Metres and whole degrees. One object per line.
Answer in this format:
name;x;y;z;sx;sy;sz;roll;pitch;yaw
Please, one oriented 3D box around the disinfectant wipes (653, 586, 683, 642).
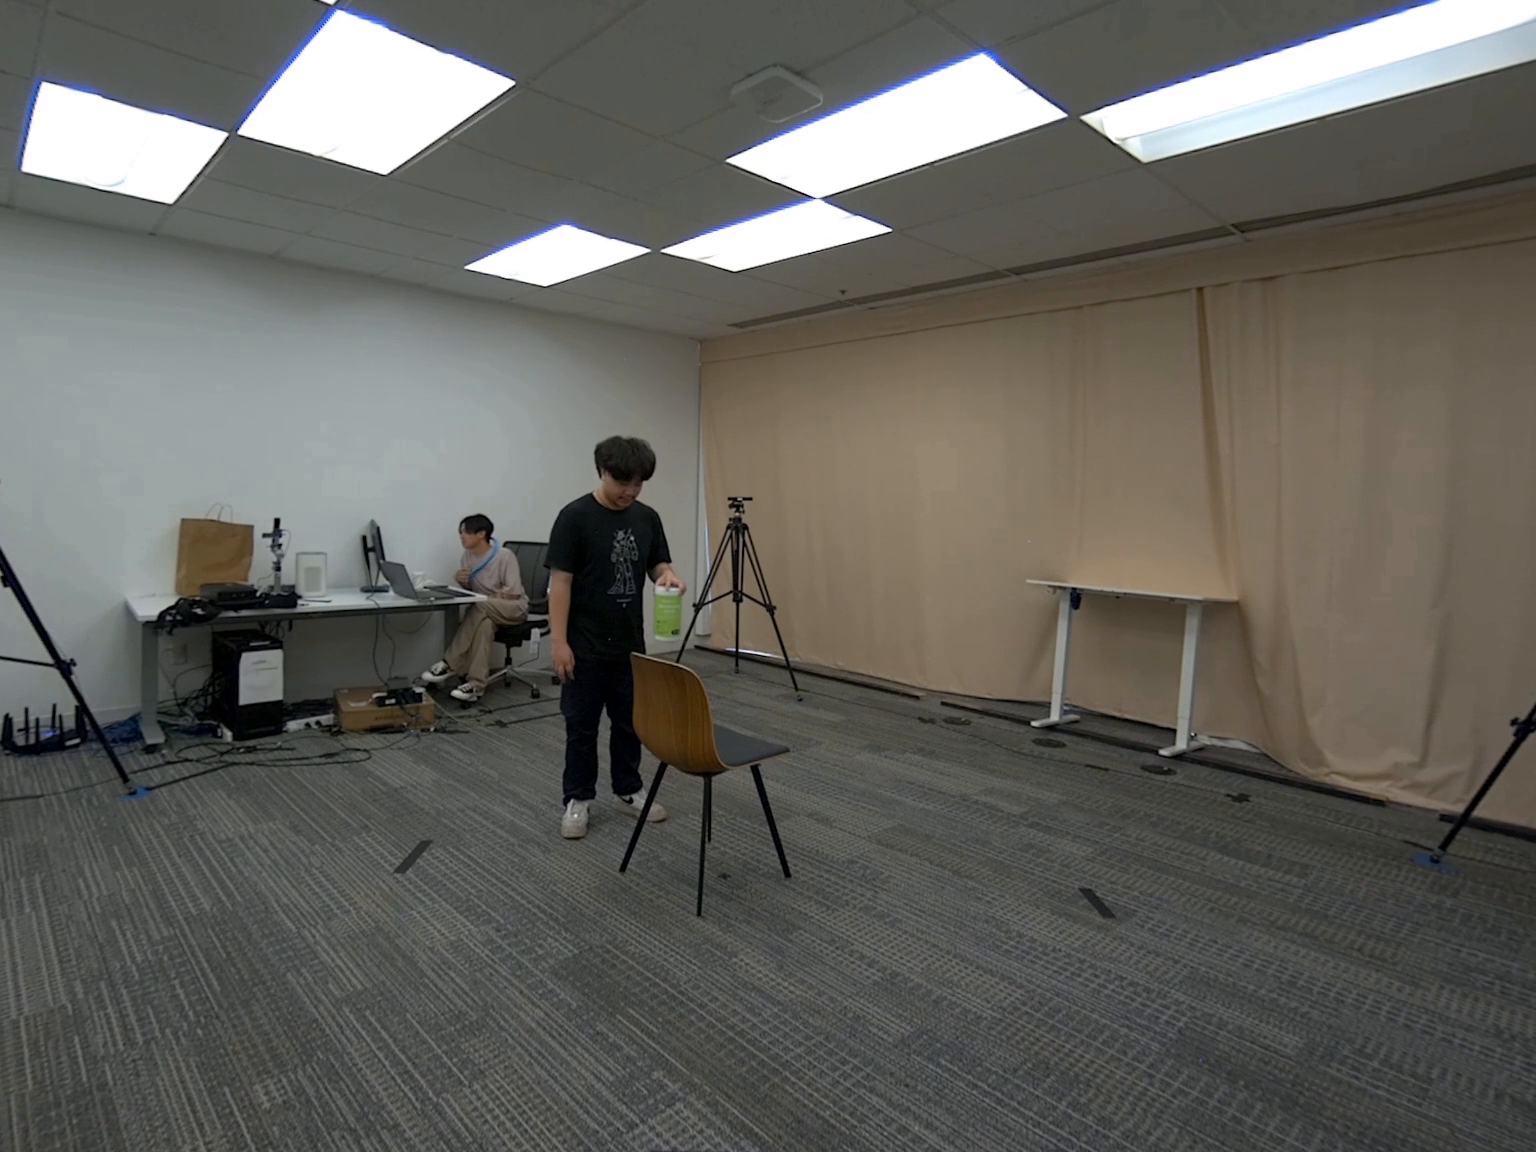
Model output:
disinfectant wipes;-0.414;0.154;3.393;0.118;0.216;0.118;1;6;-1
